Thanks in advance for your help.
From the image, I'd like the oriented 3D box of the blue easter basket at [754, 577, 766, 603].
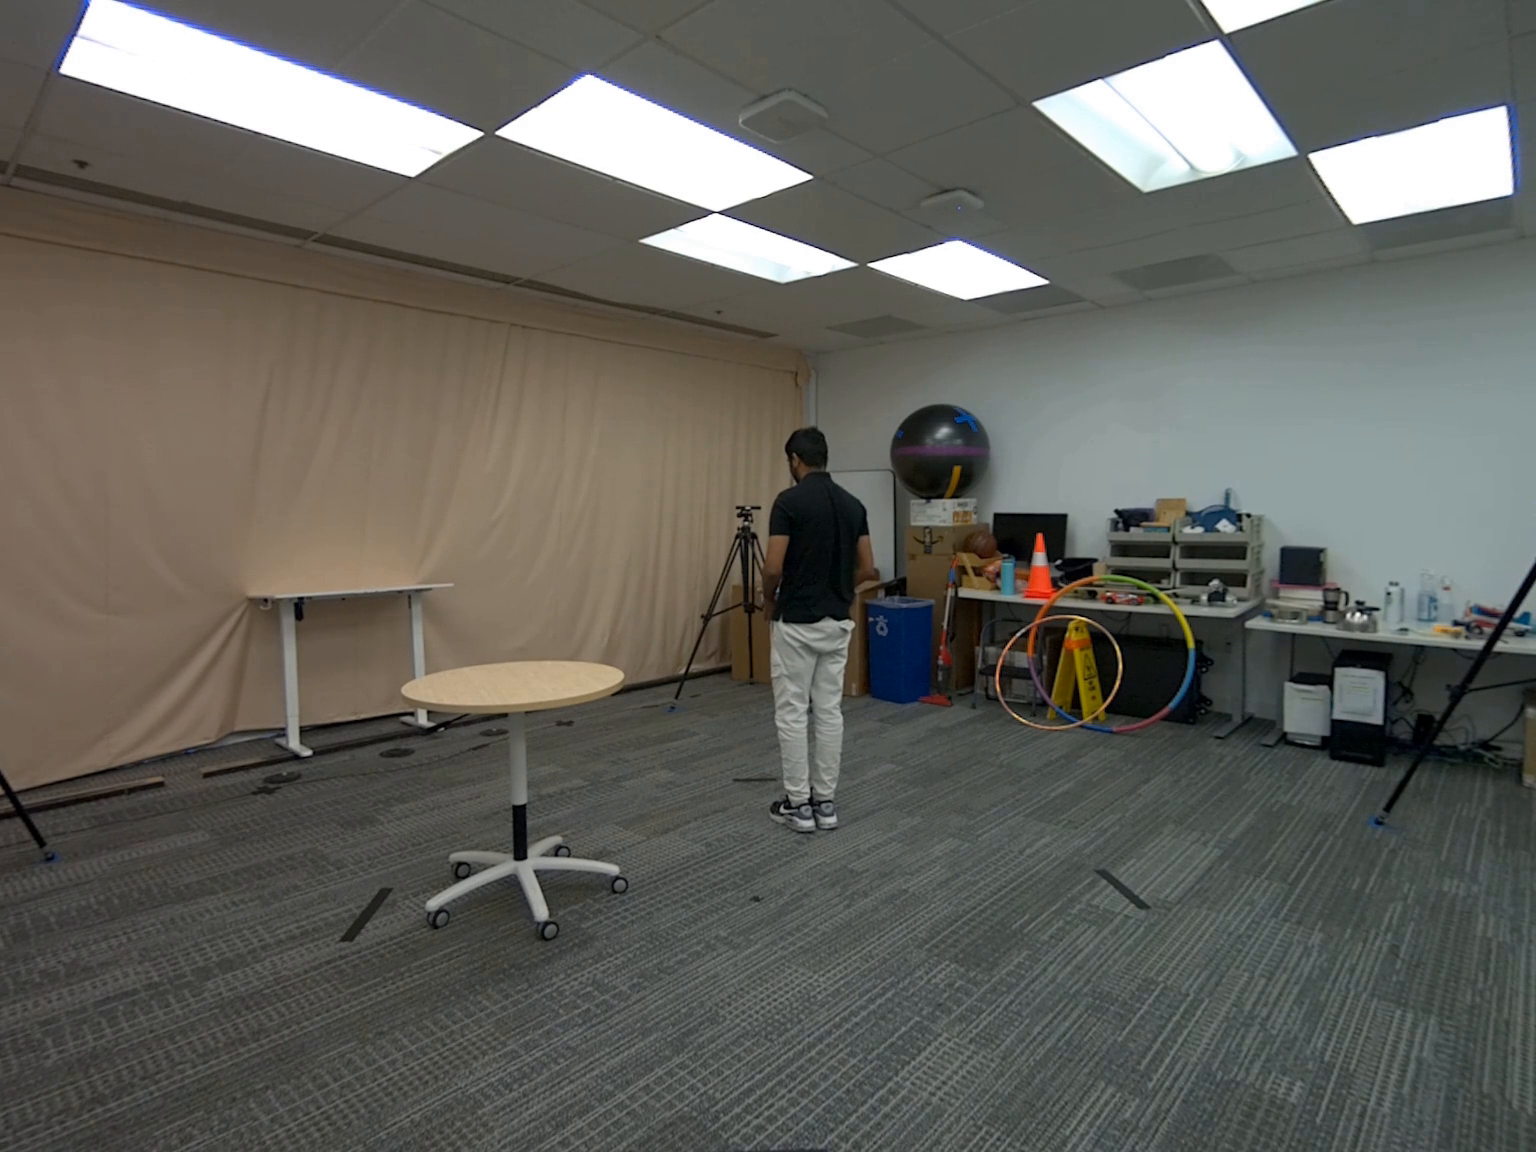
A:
[{"bbox_3d":[0.083,0.134,3.958,0.243,0.156,0.244,-2,2,-2],"label":"blue easter basket"}]
